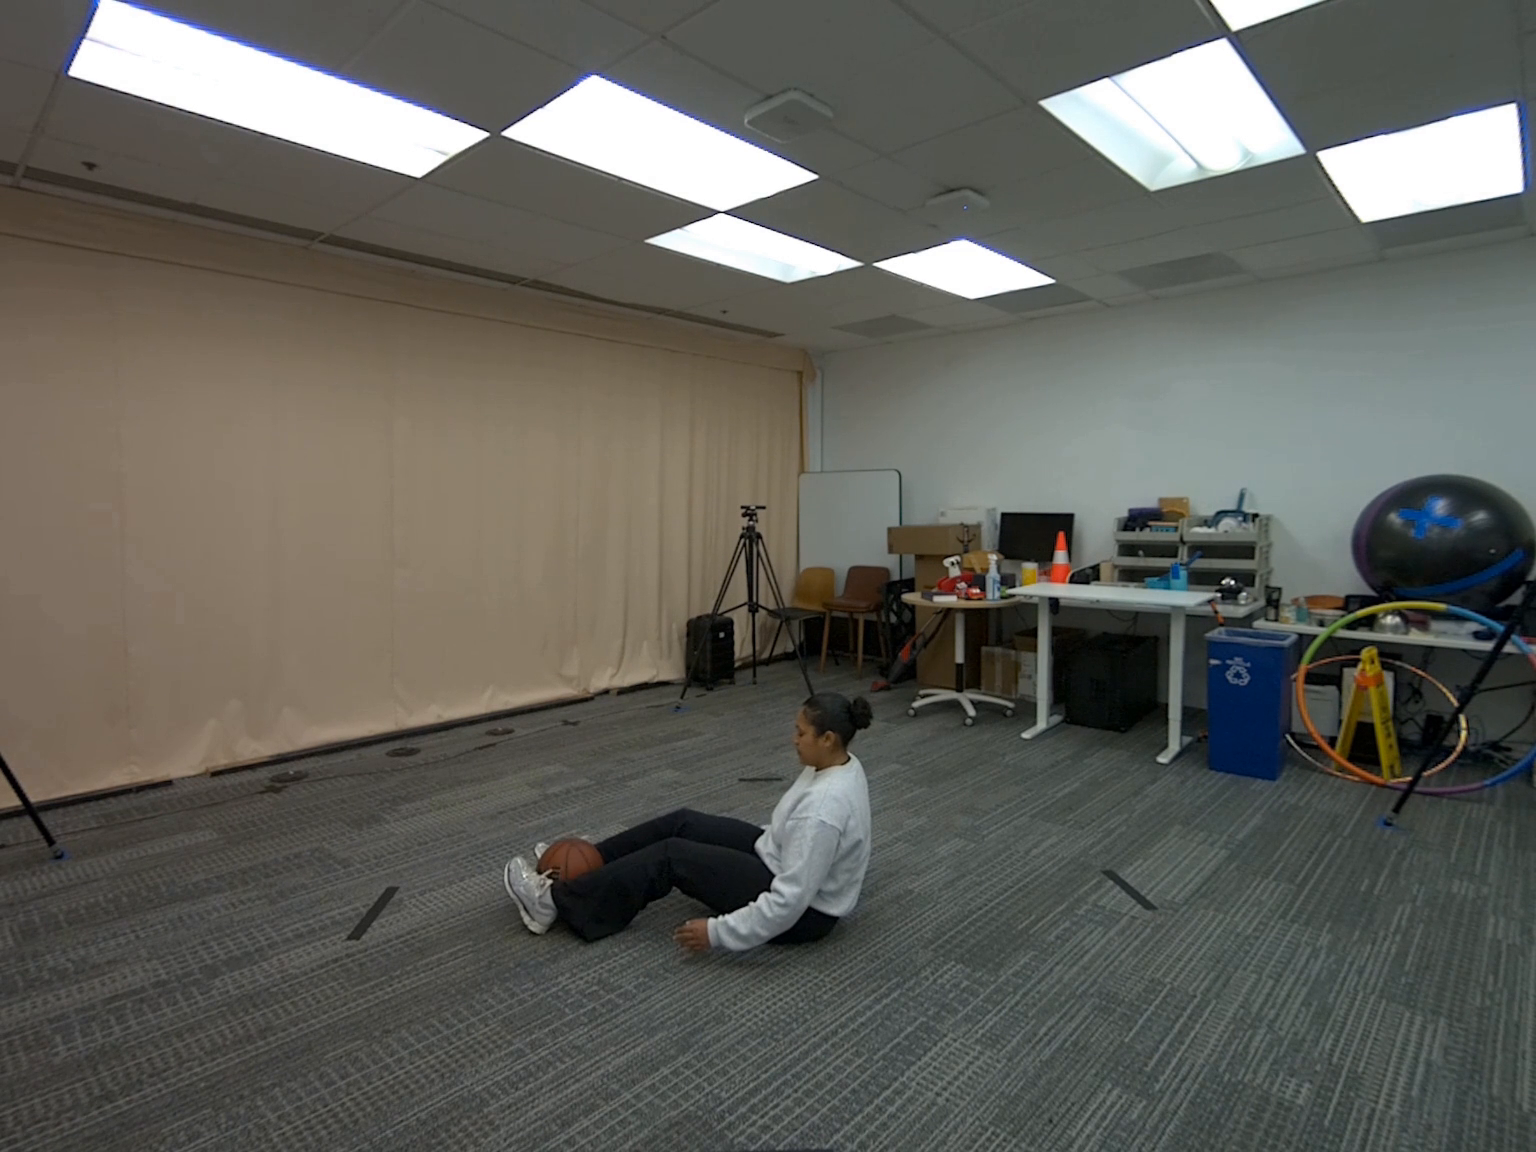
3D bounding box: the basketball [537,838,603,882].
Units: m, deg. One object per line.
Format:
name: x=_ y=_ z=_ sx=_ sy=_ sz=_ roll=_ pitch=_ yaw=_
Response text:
basketball: x=-0.684 y=1.039 z=2.913 sx=0.236 sy=0.235 sz=0.237 roll=0 pitch=4 yaw=-2
